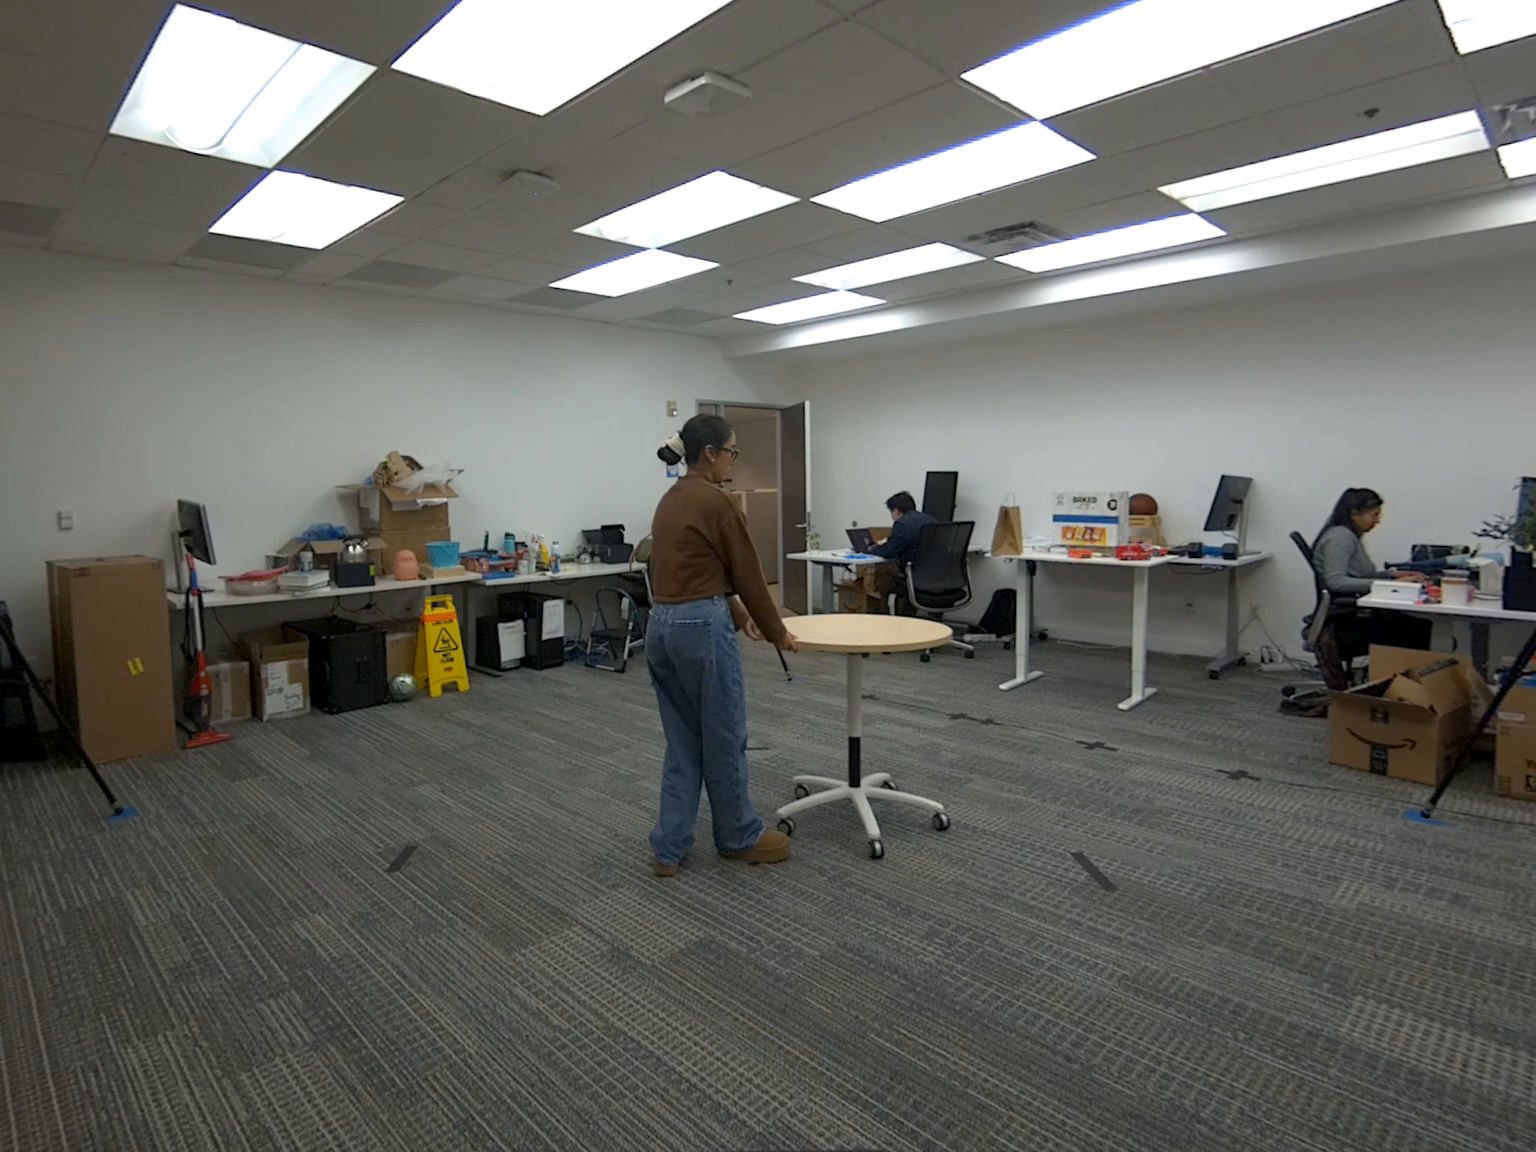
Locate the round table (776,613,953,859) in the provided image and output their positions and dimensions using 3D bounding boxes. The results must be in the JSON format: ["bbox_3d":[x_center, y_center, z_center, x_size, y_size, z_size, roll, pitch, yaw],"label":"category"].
[{"bbox_3d":[0.345,0.602,3.443,0.784,0.784,0.788,-1,4,-2],"label":"round table"}]
